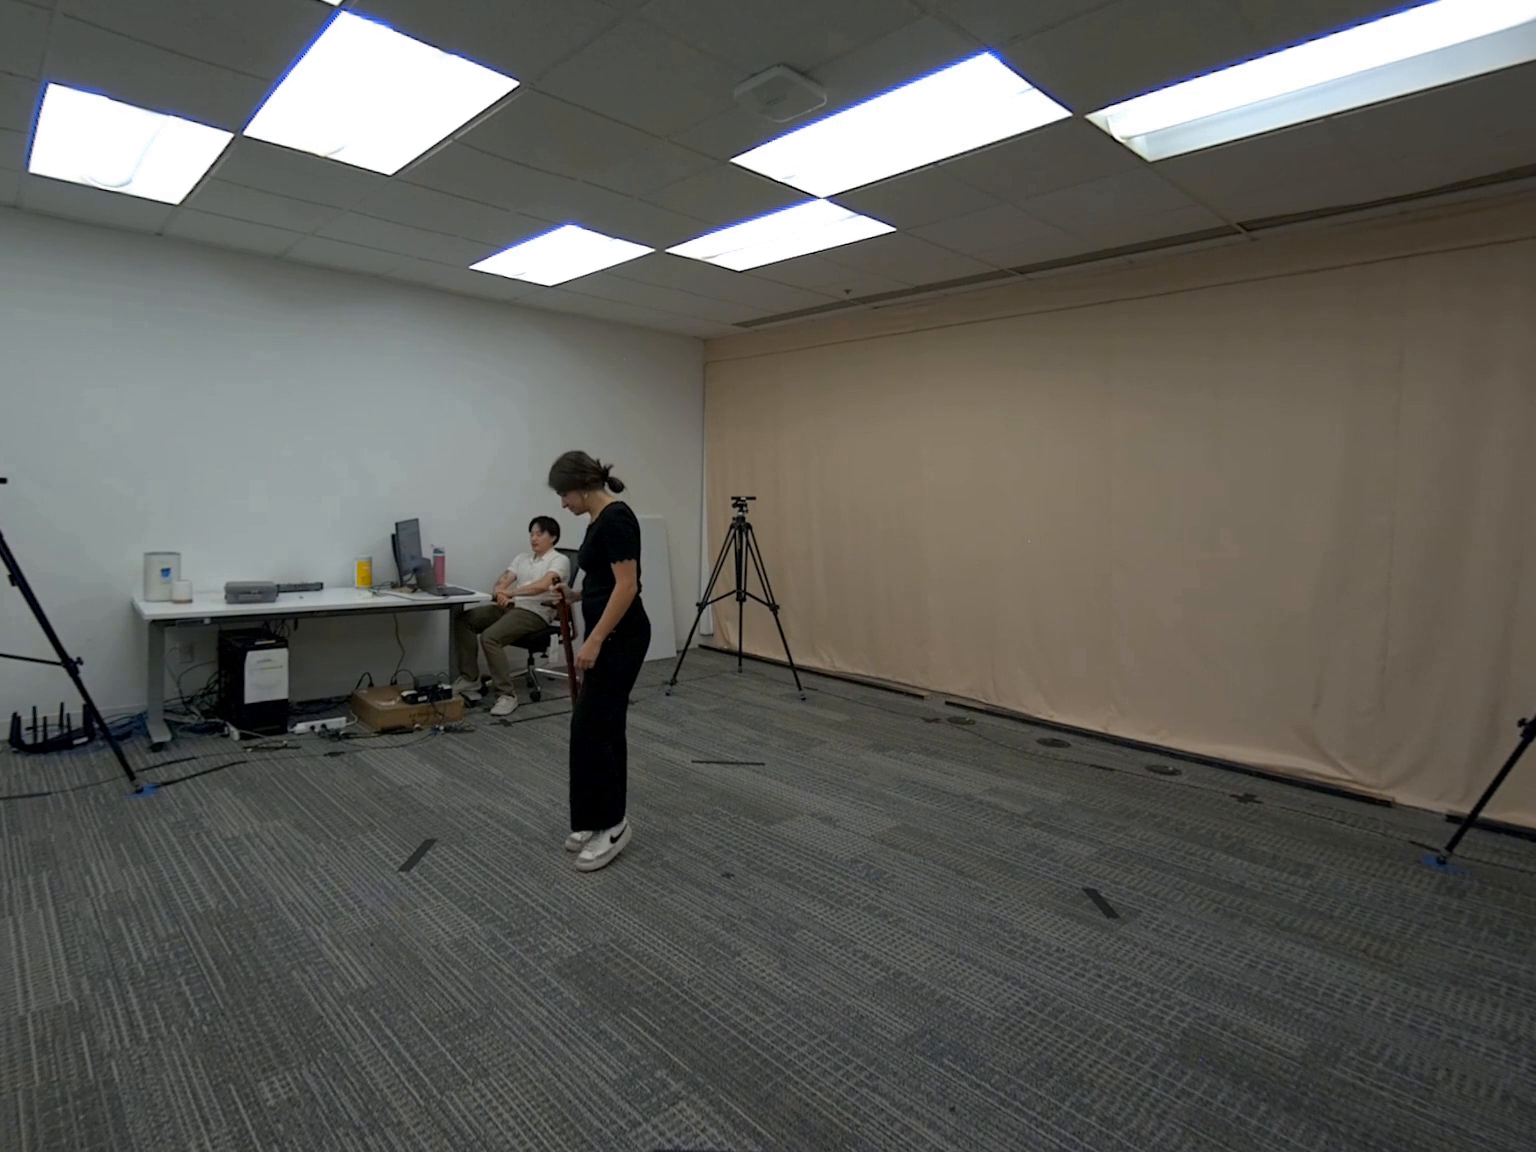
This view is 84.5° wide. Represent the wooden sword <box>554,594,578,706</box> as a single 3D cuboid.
[{"bbox_3d":[-0.802,0.536,3.492,0.023,1.020,0.052,-9,7,-43],"label":"wooden sword"}]
